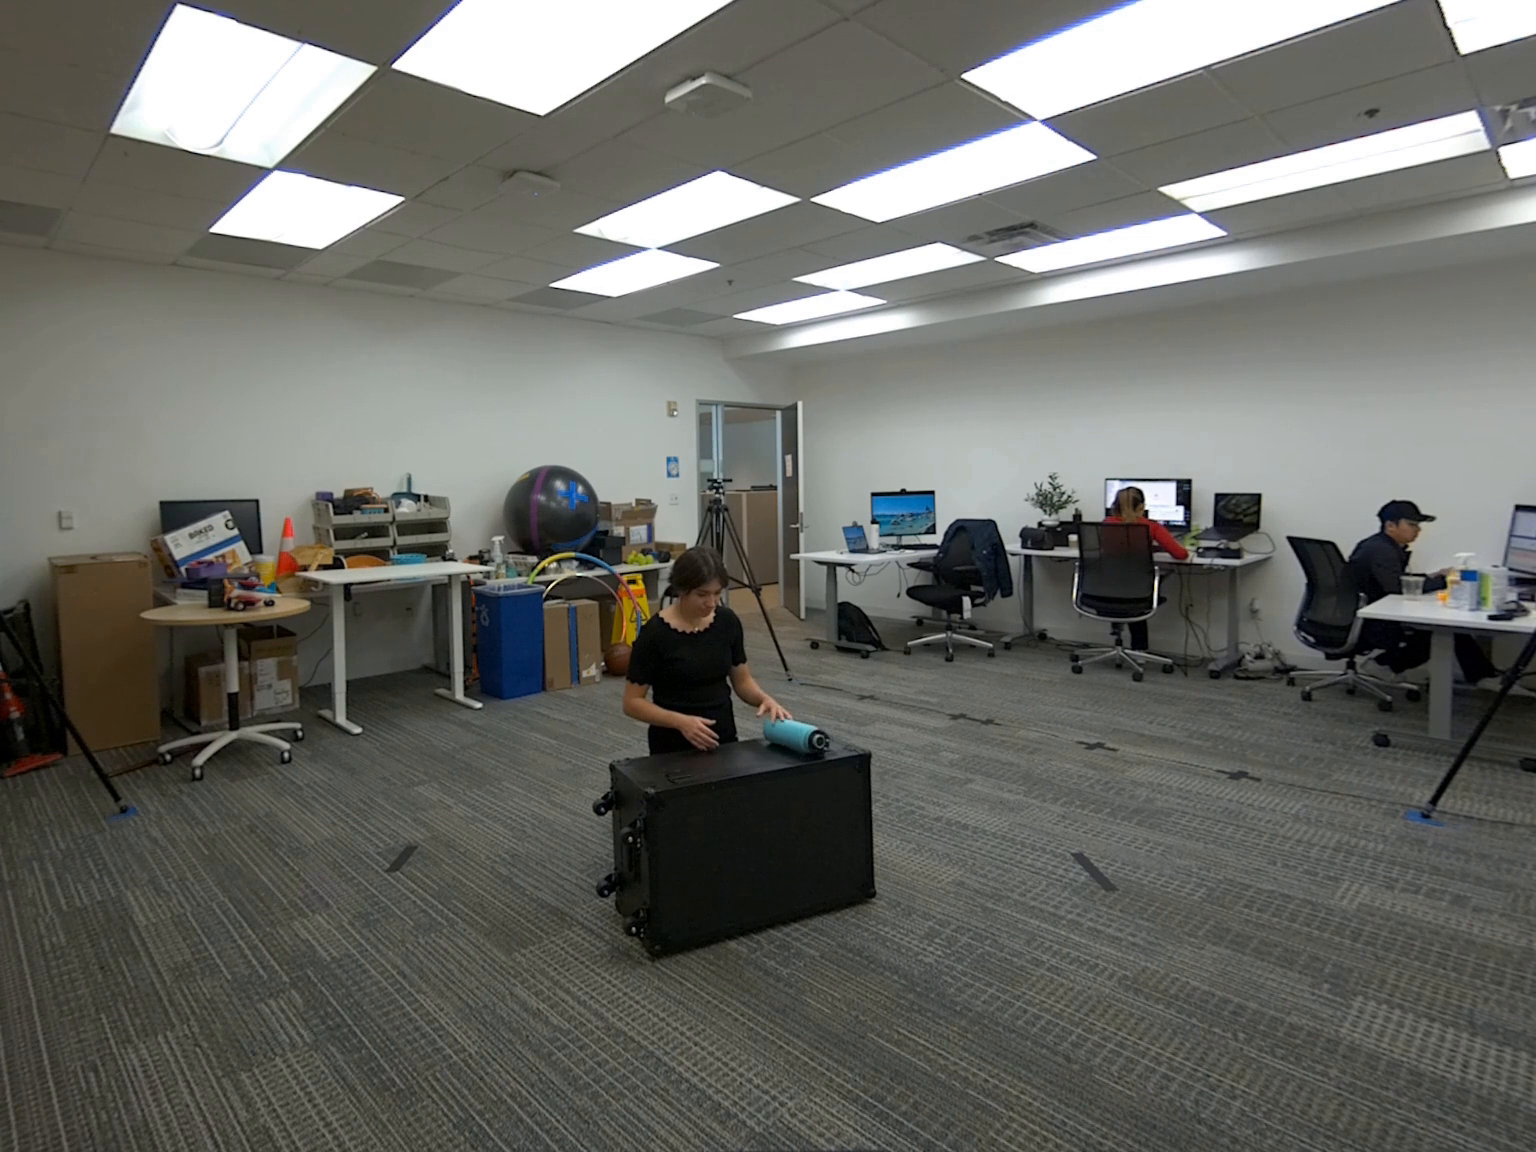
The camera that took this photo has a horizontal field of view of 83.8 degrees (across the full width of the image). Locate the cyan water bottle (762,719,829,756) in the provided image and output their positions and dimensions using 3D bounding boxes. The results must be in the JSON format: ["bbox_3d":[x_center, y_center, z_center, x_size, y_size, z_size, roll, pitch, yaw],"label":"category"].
[{"bbox_3d":[0.100,0.533,2.838,0.090,0.092,0.290,-4,1,-36],"label":"cyan water bottle"}]
